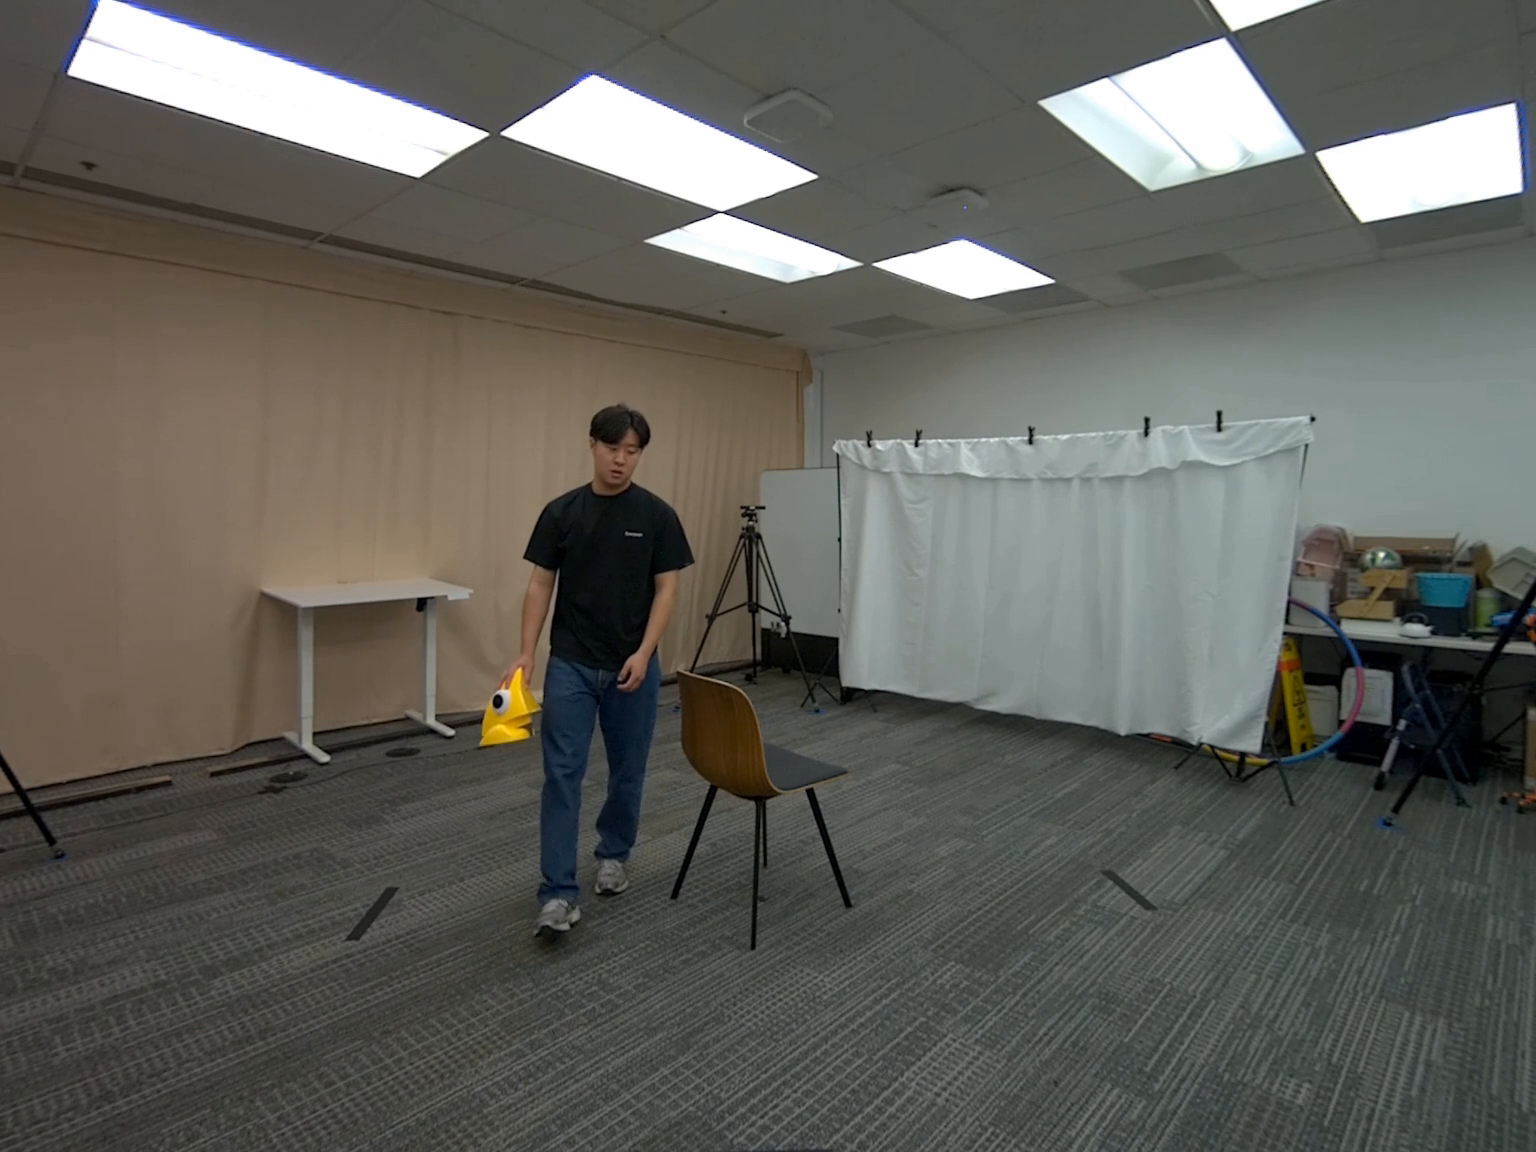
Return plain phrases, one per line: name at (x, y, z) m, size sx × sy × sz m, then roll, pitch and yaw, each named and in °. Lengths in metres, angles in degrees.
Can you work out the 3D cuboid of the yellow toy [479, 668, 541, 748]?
yellow toy at (-0.868, 0.432, 2.797) m, size 0.193 × 0.232 × 0.204 m, roll -9°, pitch -6°, yaw -2°
